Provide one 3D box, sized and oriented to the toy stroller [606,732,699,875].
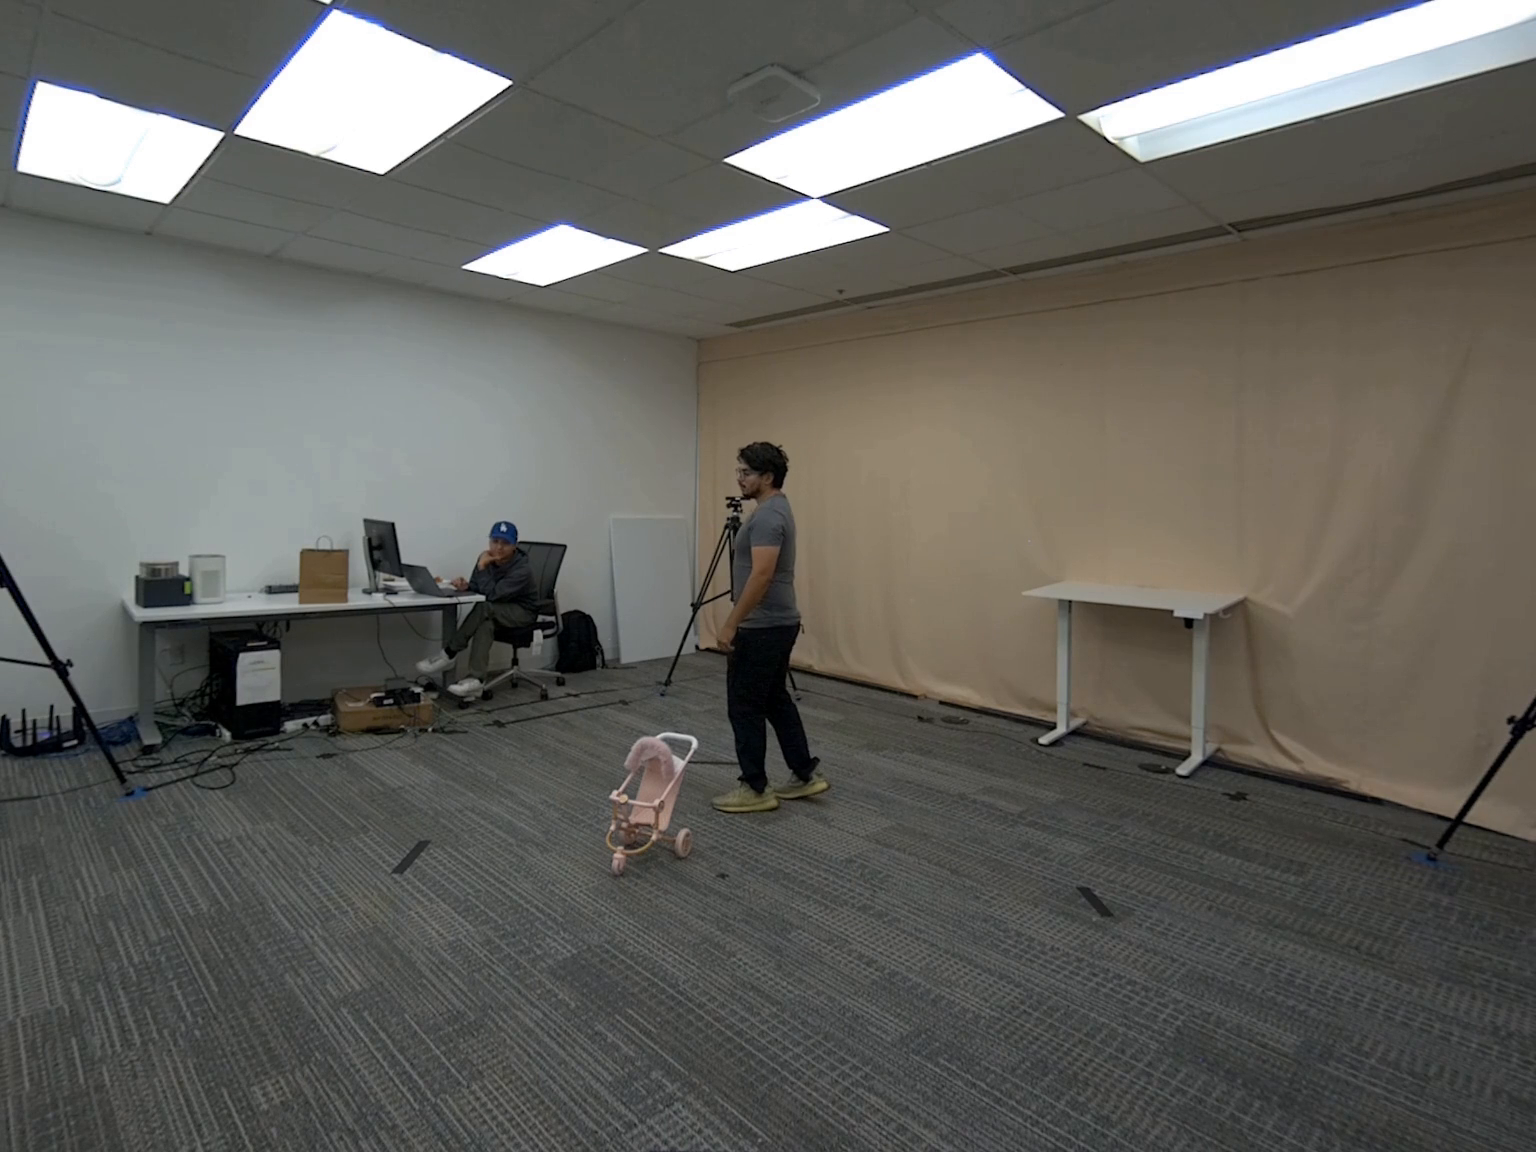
[{"bbox_3d":[-0.474,0.867,3.251,0.288,0.539,0.331,3,-14,31],"label":"toy stroller"}]
